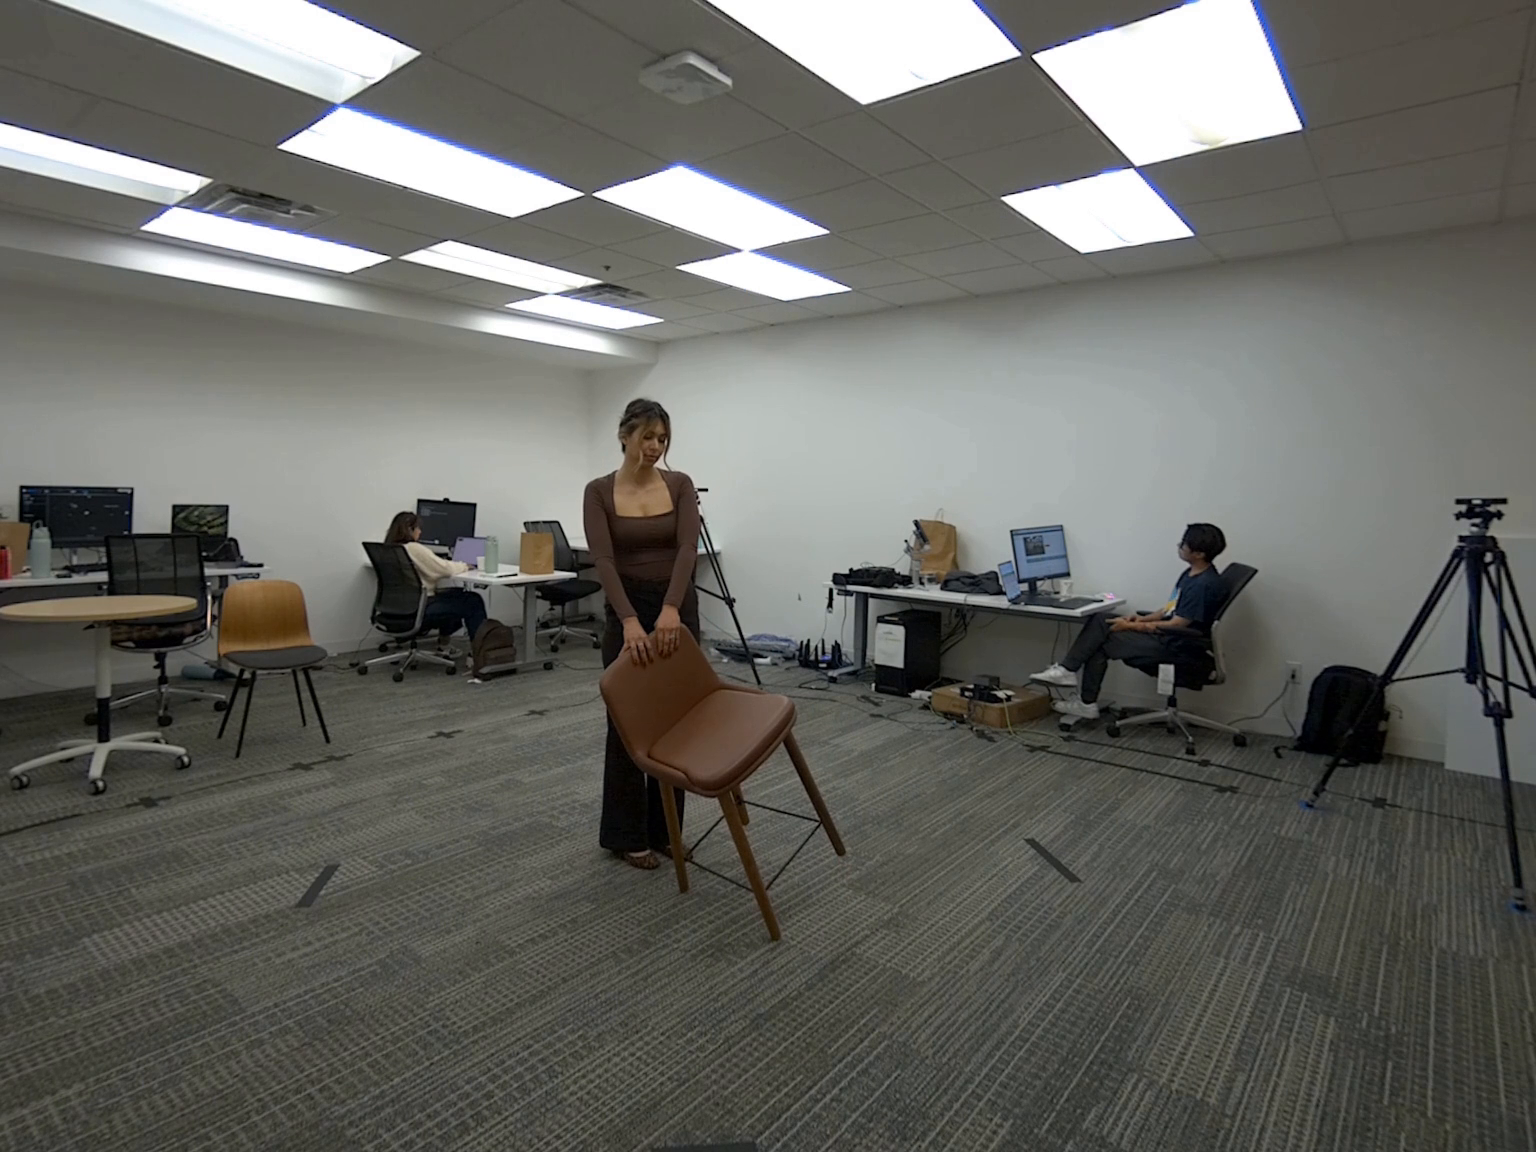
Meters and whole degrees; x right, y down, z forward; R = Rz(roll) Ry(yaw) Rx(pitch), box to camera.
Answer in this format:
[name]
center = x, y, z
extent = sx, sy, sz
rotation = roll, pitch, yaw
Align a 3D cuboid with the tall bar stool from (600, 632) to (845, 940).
[tall bar stool]
center = -0.151, 0.630, 2.762
extent = 0.483, 0.870, 0.452
rotation = 0, 26, 42
